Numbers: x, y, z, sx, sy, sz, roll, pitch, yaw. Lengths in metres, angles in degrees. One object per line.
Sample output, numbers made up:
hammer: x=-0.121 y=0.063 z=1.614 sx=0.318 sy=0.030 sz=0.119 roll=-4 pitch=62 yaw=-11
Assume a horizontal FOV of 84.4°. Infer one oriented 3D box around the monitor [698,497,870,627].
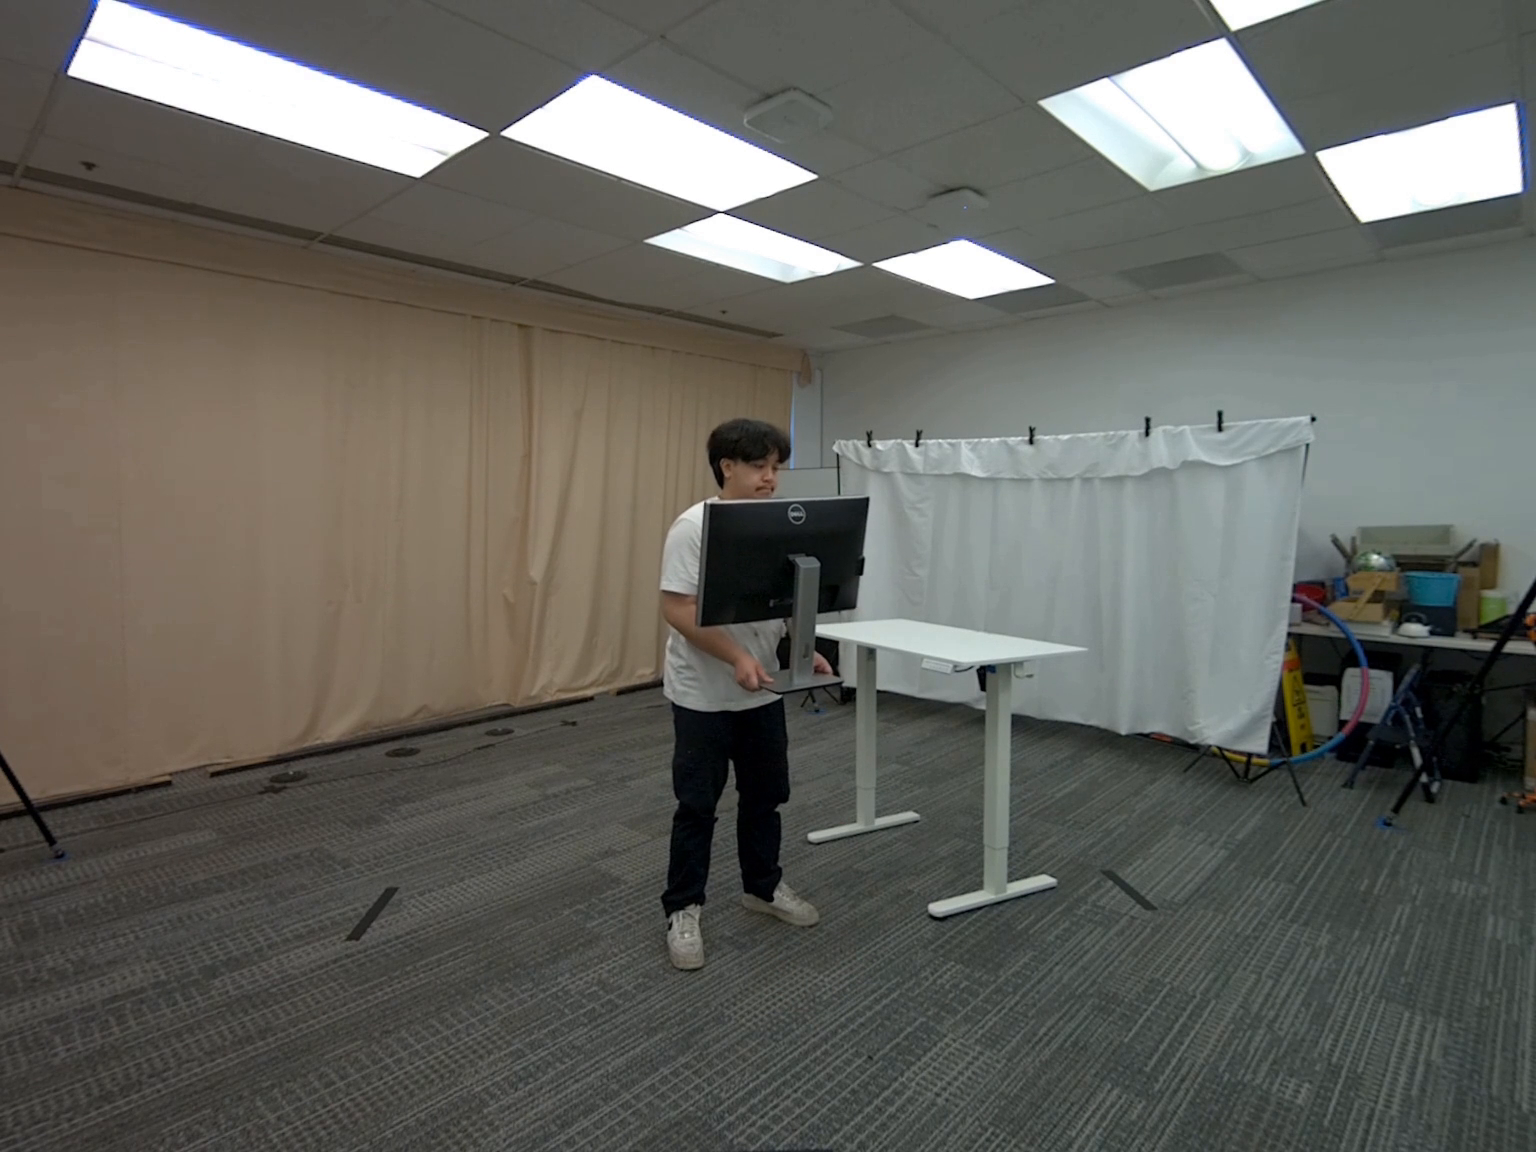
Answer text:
monitor: x=0.083 y=0.047 z=2.424 sx=0.550 sy=0.551 sz=0.217 roll=-4 pitch=11 yaw=-30
